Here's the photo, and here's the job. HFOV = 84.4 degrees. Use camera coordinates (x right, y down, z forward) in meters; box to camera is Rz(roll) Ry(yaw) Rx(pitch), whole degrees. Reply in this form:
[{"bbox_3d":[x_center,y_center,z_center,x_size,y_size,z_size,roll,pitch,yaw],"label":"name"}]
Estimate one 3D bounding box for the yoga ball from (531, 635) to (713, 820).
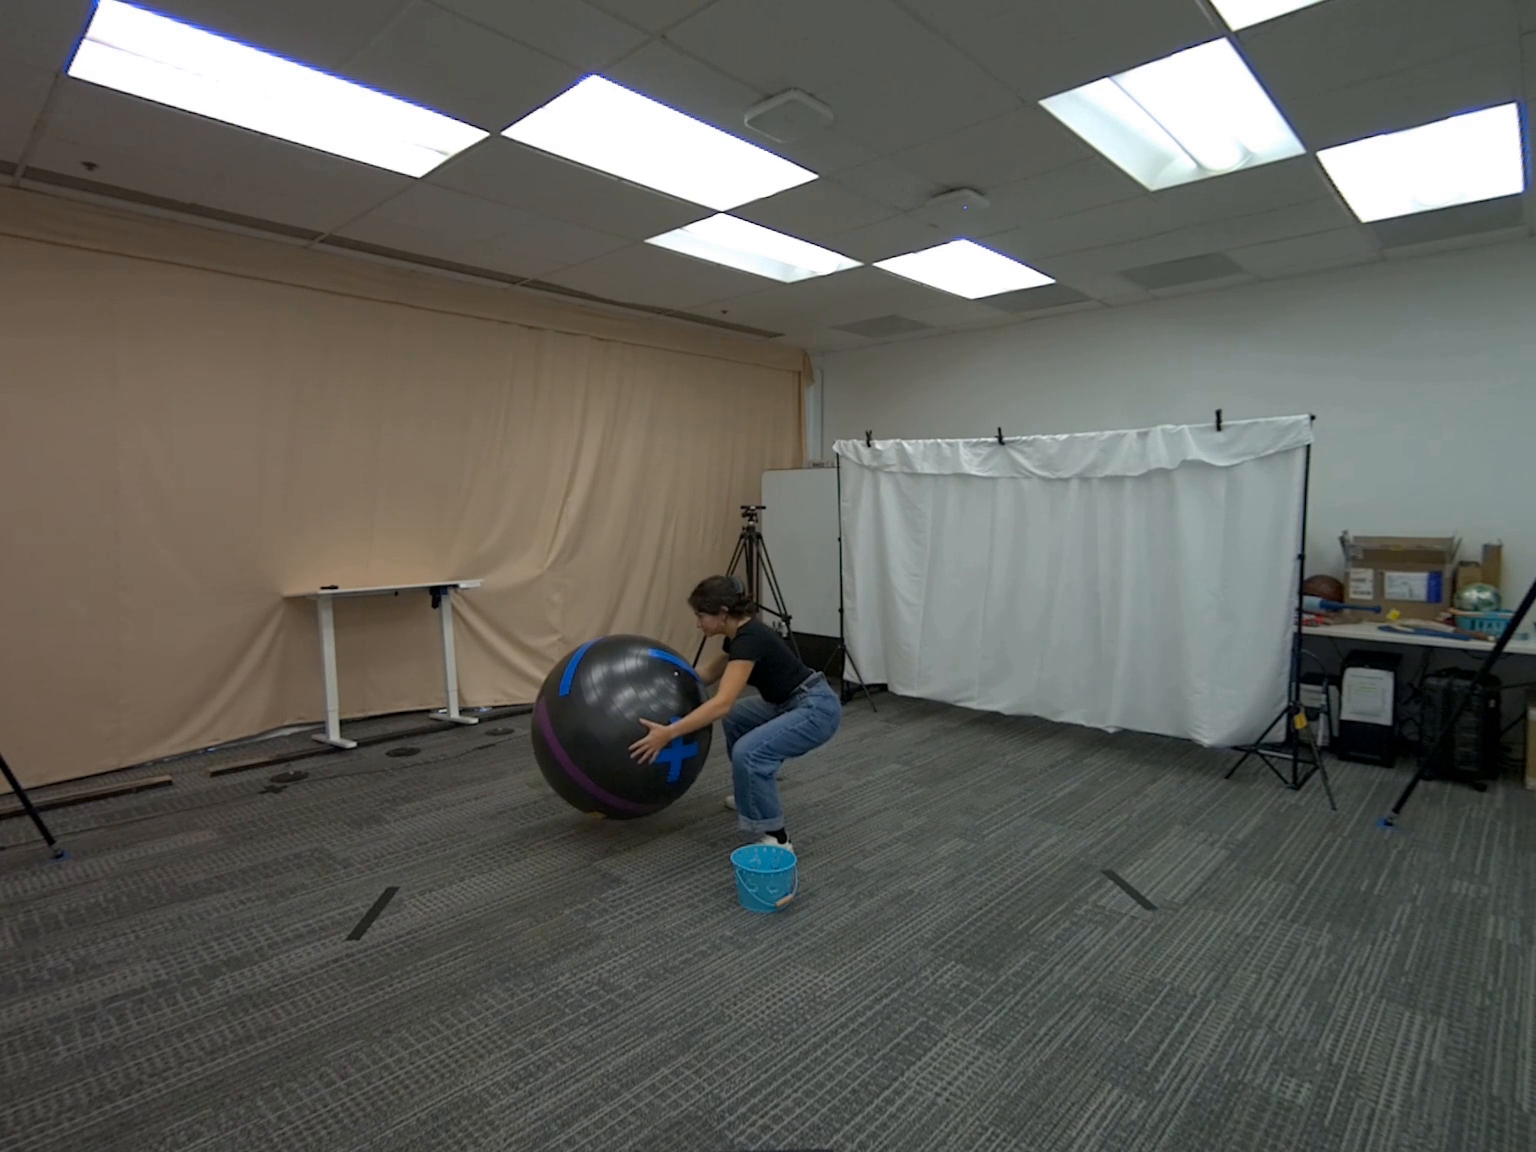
[{"bbox_3d":[-0.612,0.629,3.548,0.757,0.756,0.760,0,4,-2],"label":"yoga ball"}]
